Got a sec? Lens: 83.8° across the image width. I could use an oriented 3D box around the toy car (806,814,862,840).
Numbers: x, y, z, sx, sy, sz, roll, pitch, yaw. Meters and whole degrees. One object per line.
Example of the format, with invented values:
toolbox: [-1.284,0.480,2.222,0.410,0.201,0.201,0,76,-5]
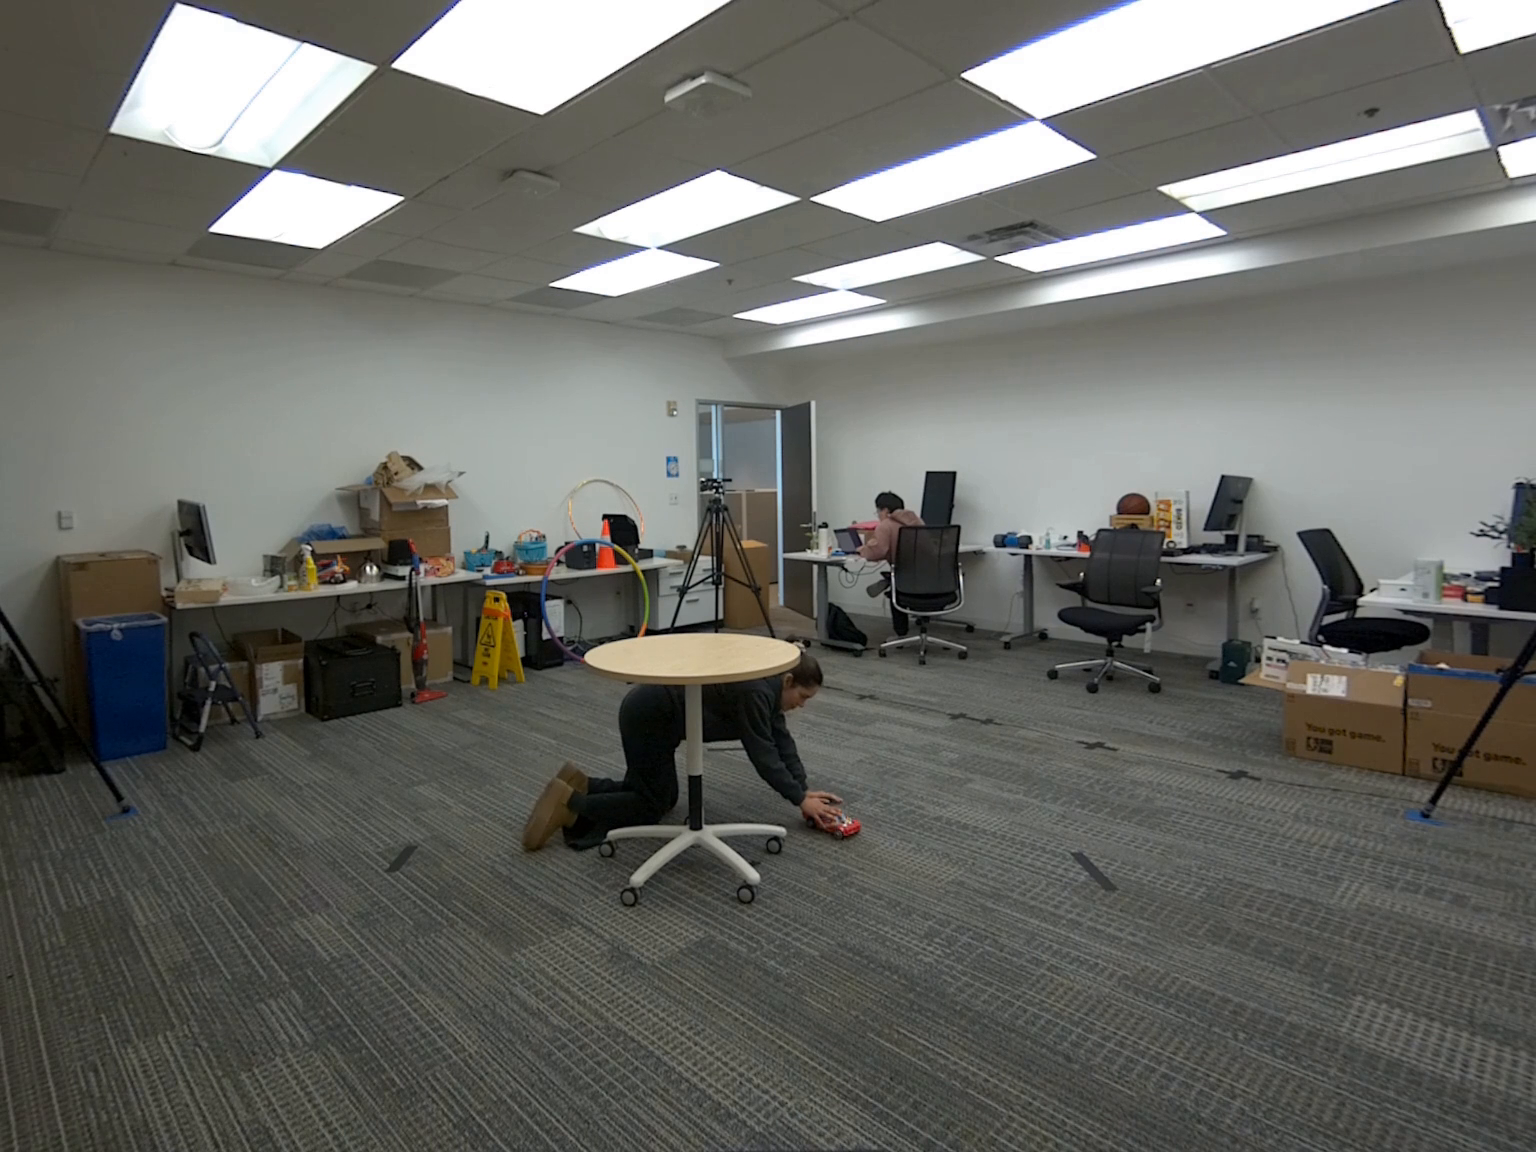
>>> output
toy car: [0.249,0.975,3.391,0.127,0.082,0.264,-7,19,-40]
